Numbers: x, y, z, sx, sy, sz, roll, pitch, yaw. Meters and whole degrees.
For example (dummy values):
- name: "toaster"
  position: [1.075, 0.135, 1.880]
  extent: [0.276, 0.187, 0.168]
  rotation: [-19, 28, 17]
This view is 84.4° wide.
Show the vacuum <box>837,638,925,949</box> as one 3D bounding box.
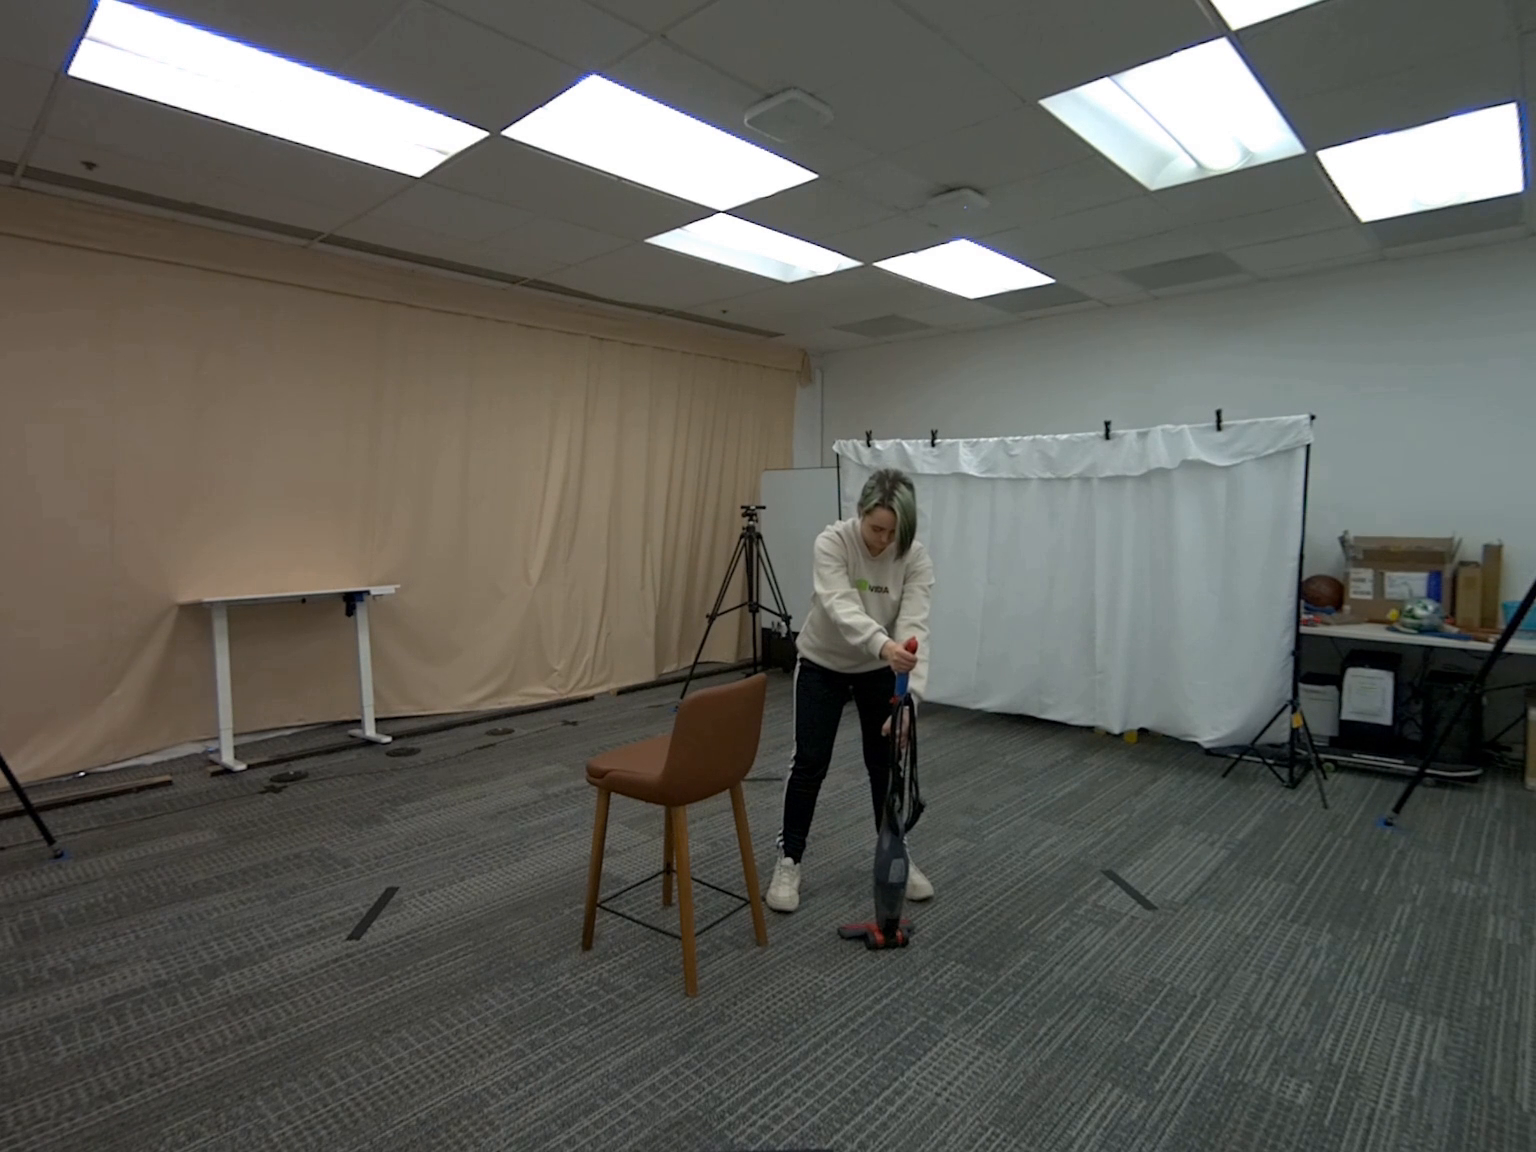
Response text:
- name: "vacuum"
  position: [0.390, 0.692, 2.508]
  extent: [0.249, 1.036, 0.148]
  rotation: [-3, 24, -13]
